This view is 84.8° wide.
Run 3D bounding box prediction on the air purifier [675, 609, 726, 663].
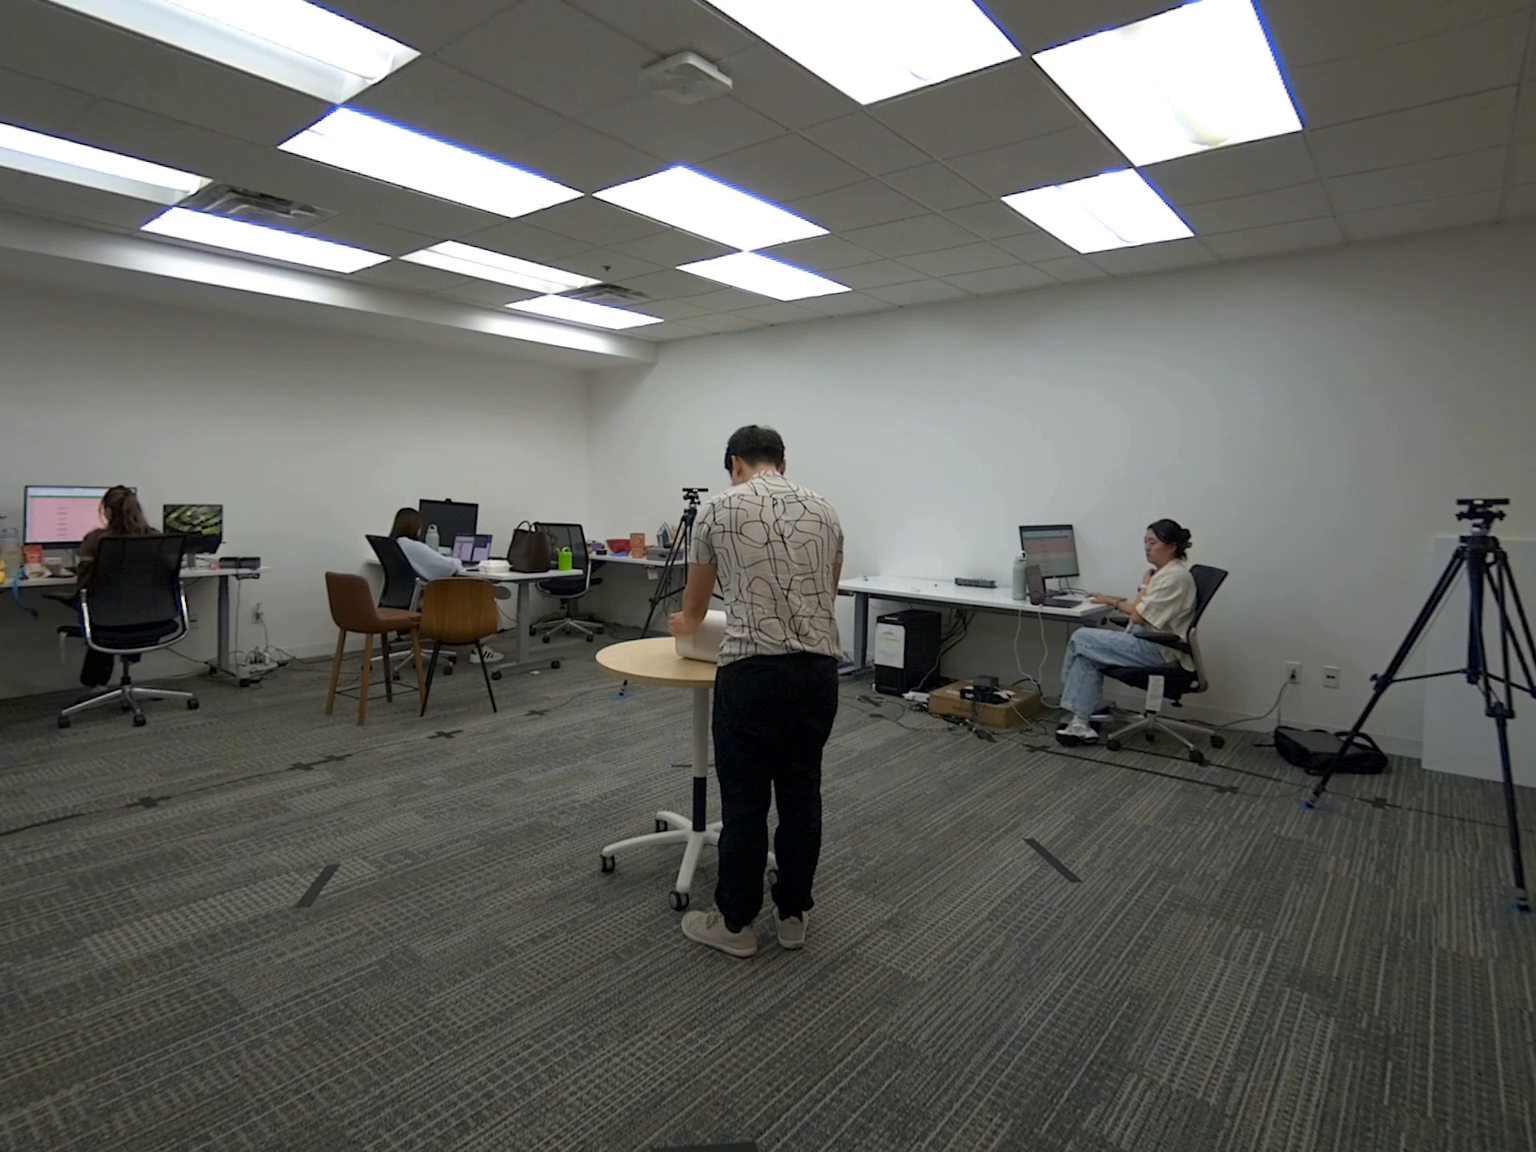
[{"bbox_3d":[-0.181,0.212,3.008,0.274,0.171,0.166,5,7,34],"label":"air purifier"}]
